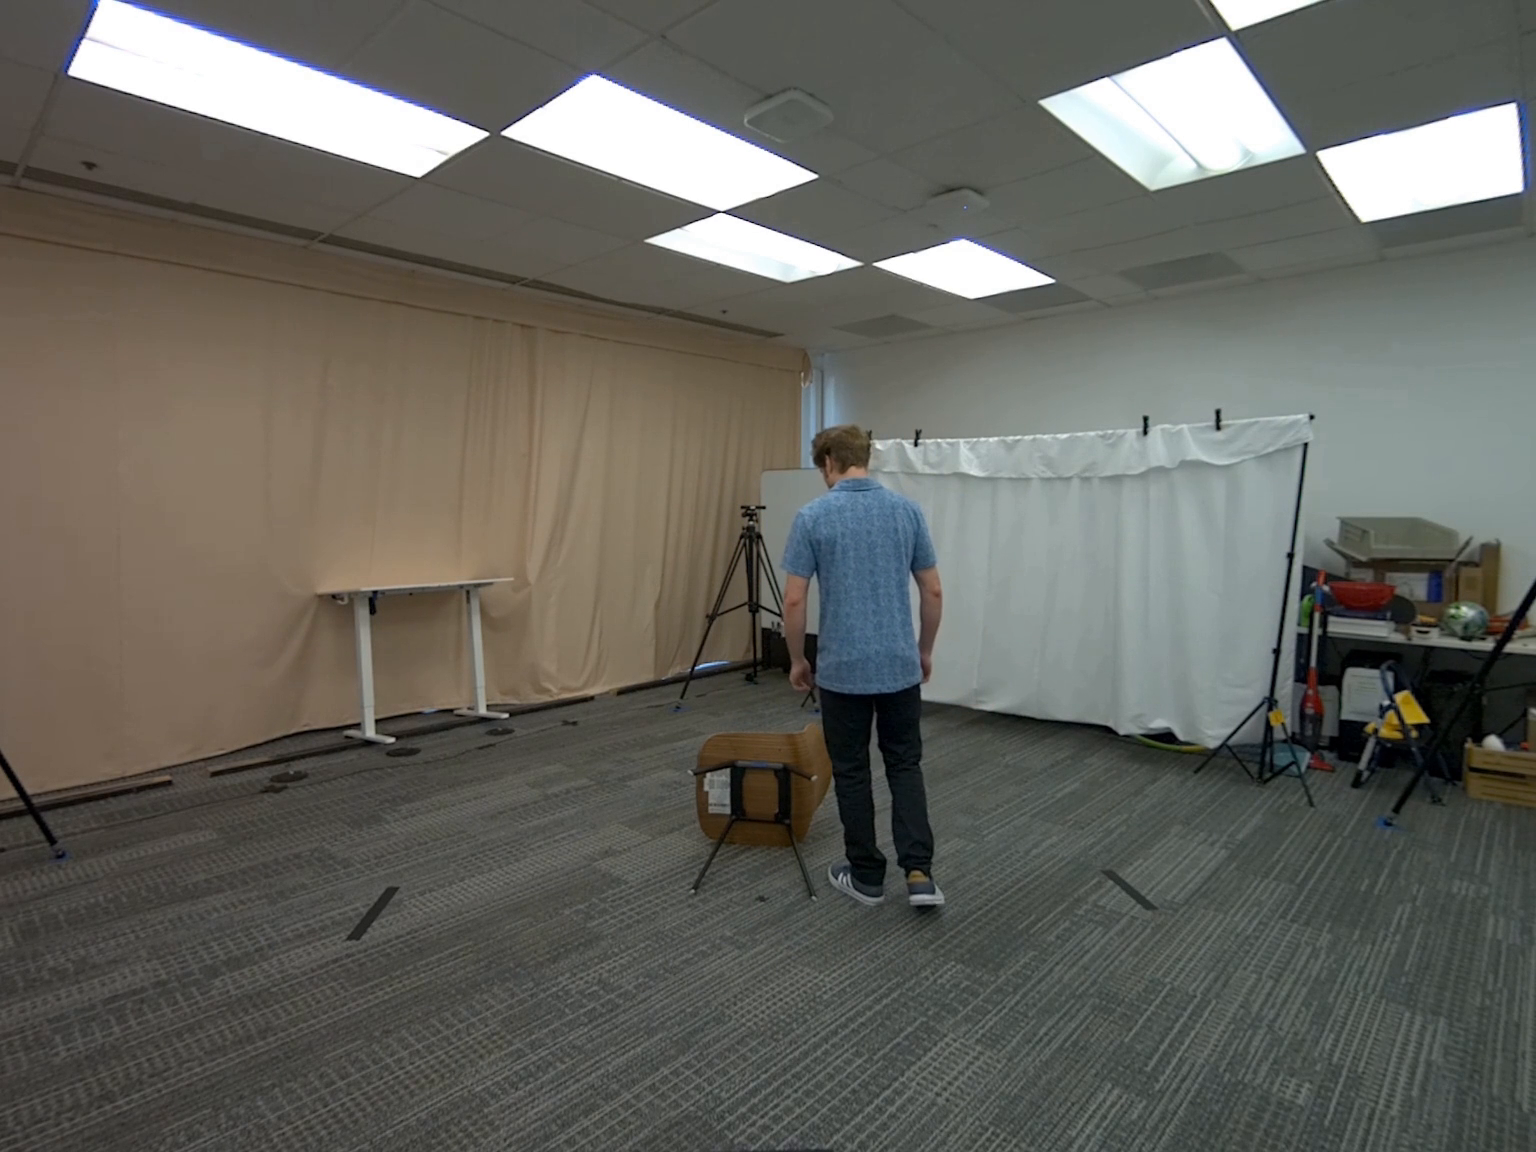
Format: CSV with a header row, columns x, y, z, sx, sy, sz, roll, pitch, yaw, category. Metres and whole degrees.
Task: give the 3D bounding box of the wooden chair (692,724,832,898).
x,y,z,sx,sy,sz,roll,pitch,yaw,category
-0.034,0.877,3.398,0.529,0.477,0.869,0,5,10,wooden chair
